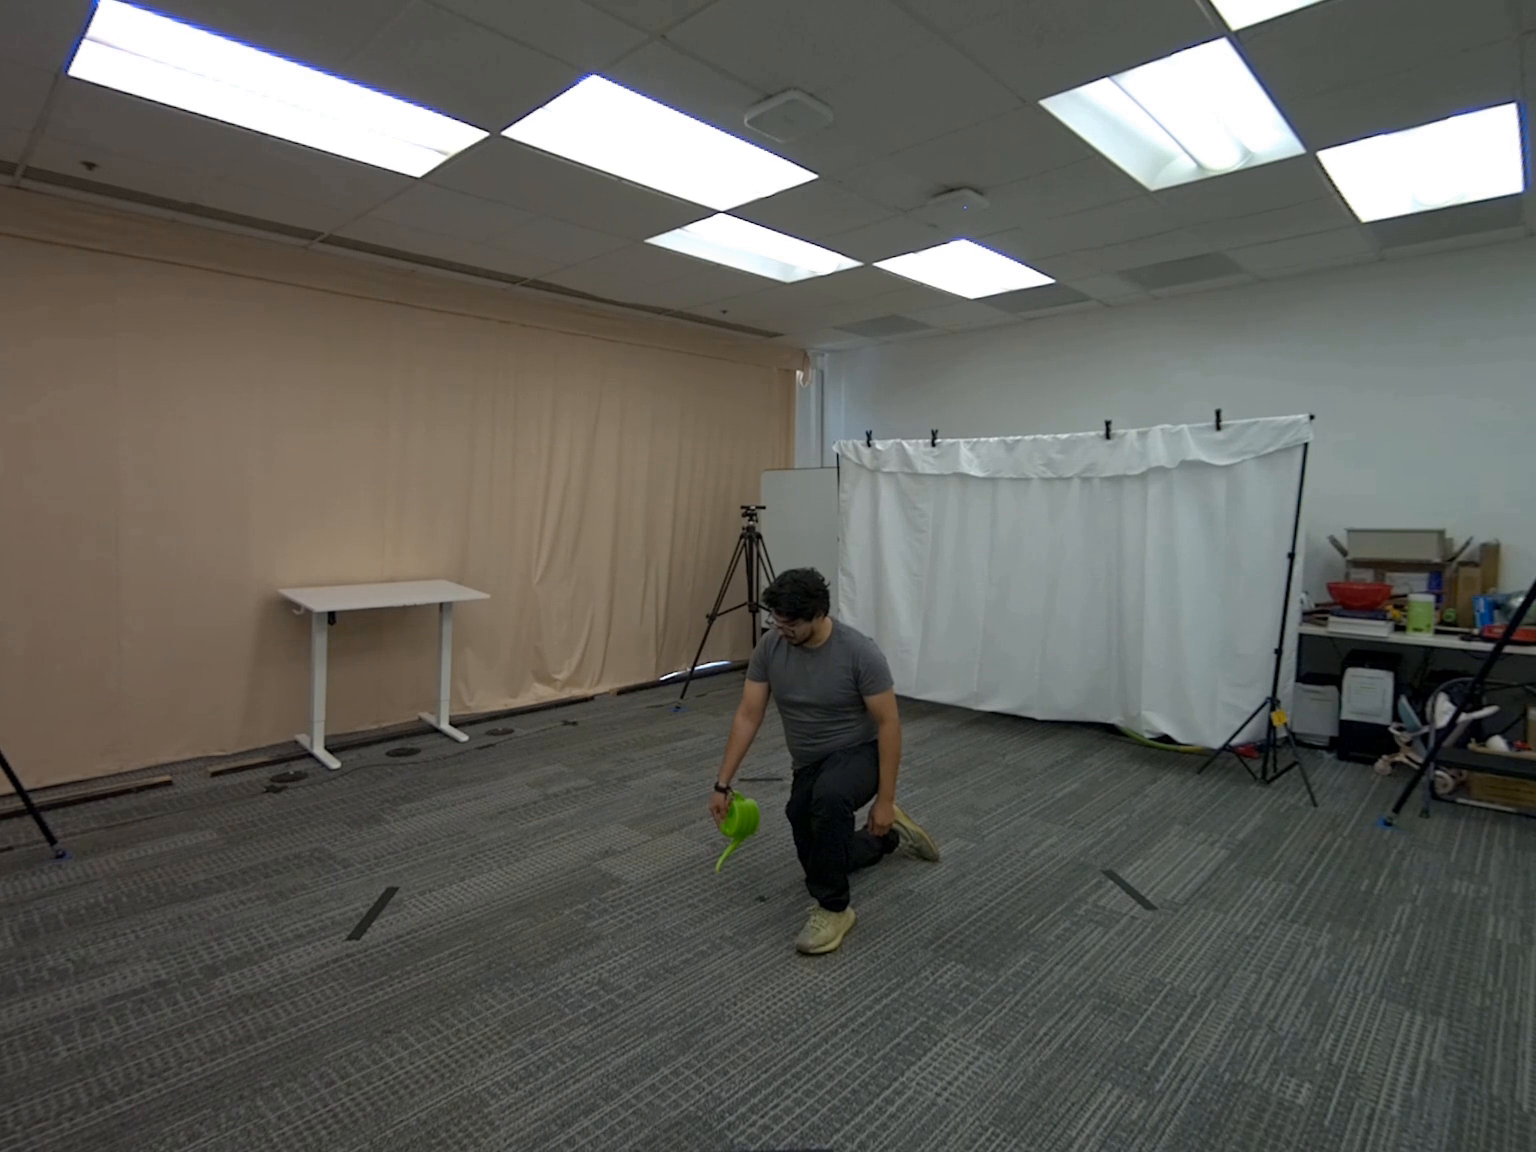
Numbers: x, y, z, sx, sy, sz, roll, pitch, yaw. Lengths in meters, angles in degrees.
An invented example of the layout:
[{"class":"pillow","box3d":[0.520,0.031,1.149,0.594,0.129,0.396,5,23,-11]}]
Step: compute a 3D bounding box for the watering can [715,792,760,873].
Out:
[{"class":"watering can","box3d":[-0.124,0.932,3.085,0.101,0.278,0.170,14,-3,39]}]
